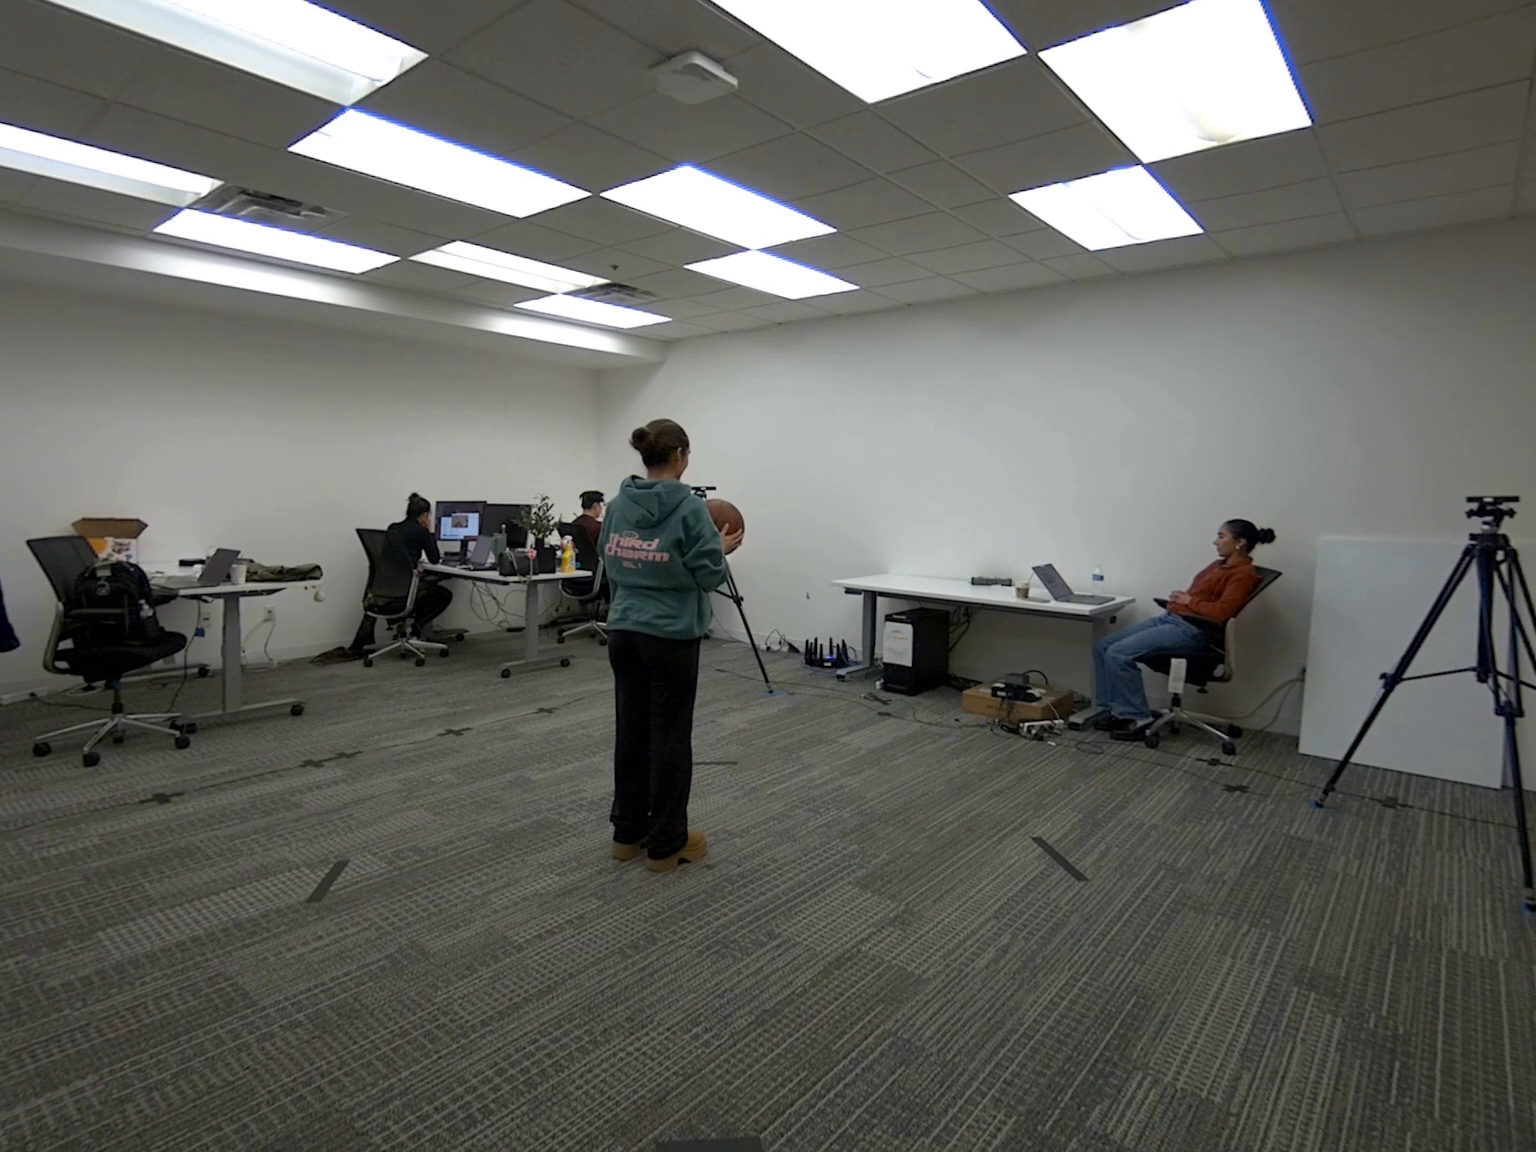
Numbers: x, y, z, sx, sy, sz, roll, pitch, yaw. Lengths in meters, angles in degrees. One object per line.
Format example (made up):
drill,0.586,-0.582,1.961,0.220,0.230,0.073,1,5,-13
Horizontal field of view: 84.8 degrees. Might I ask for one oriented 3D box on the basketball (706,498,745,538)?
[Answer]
basketball,-0.219,-0.186,3.419,0.235,0.235,0.237,1,4,-2
